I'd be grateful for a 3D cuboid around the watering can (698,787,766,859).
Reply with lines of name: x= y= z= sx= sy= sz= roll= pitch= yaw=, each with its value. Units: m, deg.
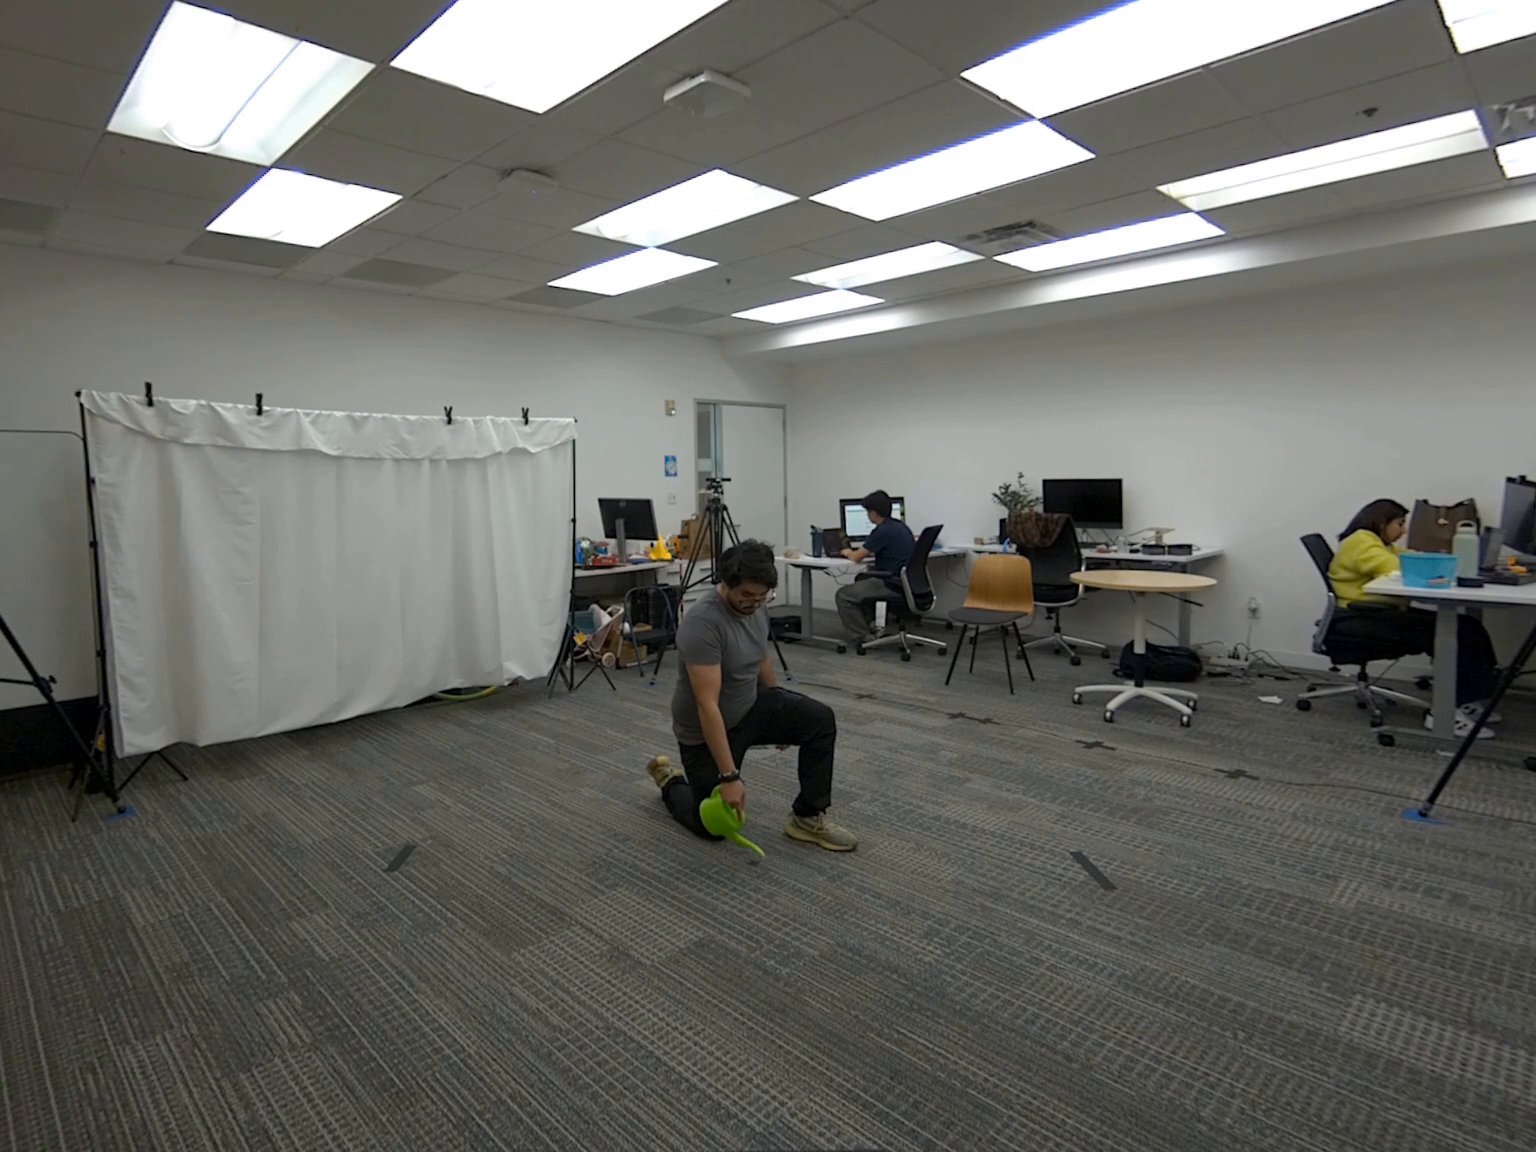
watering can: x=-0.133 y=0.883 z=3.003 sx=0.095 sy=0.284 sz=0.178 roll=1 pitch=-25 yaw=-44
